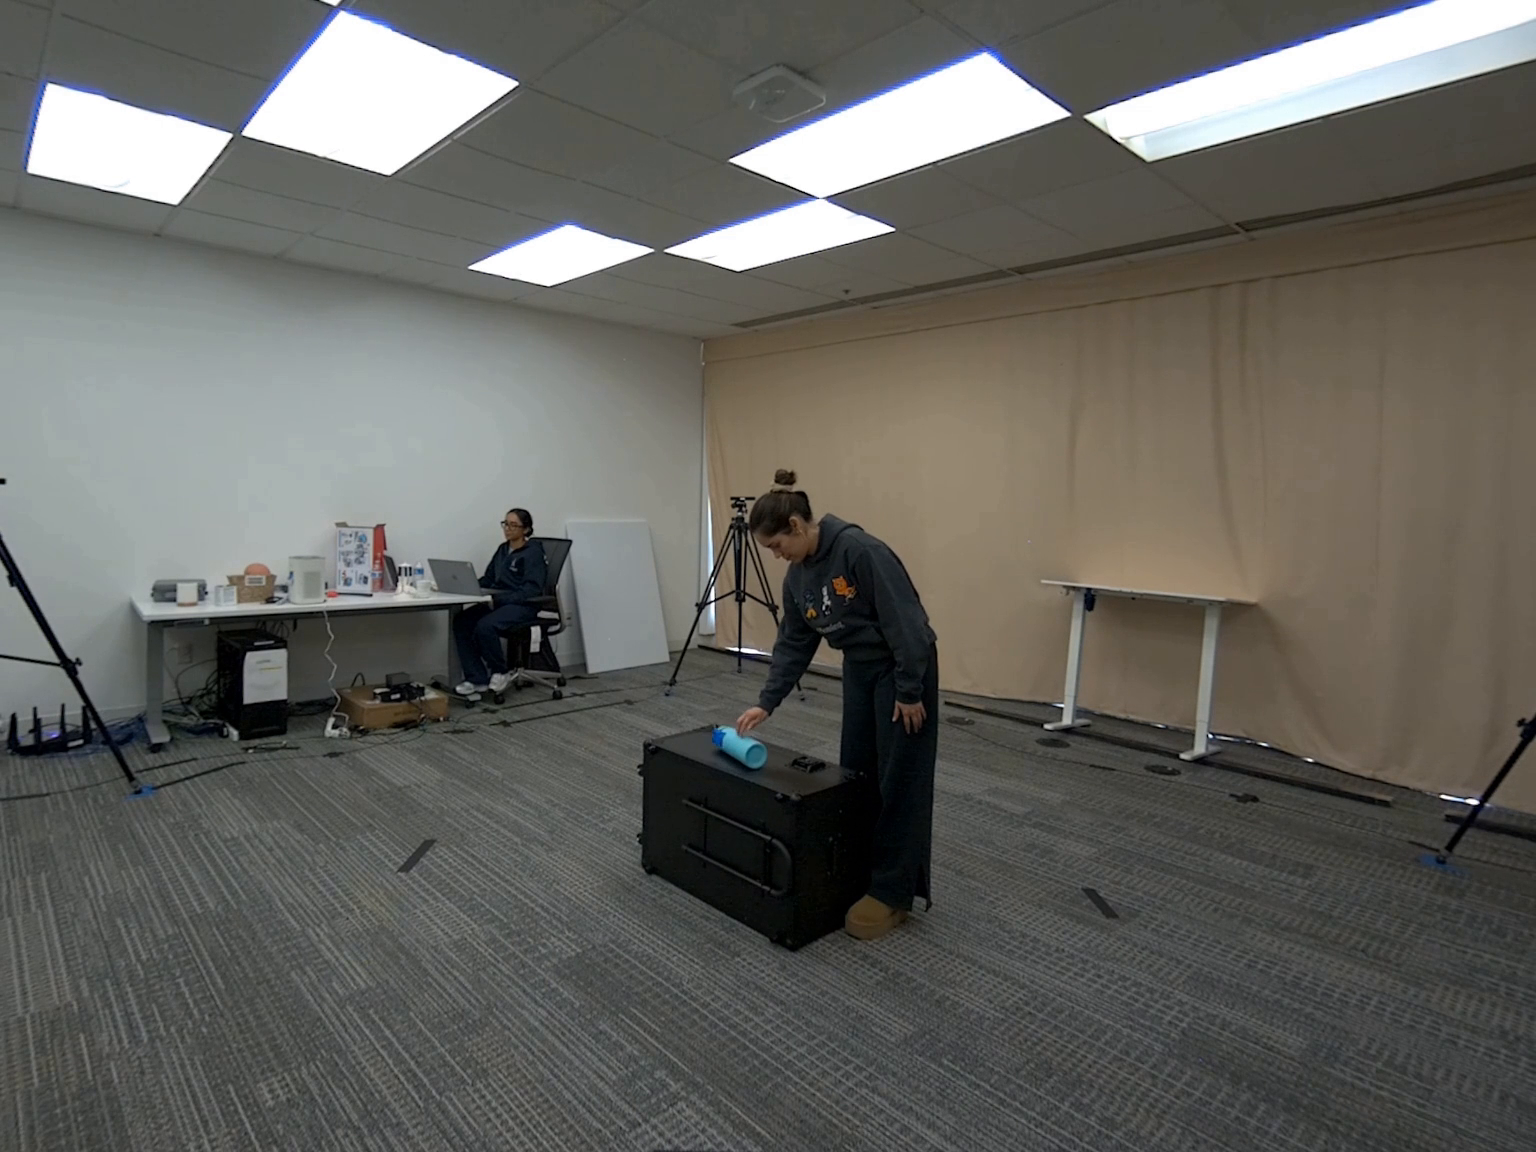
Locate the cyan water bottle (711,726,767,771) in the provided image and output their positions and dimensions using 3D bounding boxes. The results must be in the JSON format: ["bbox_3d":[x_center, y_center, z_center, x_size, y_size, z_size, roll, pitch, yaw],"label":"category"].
[{"bbox_3d":[-0.109,0.585,2.968,0.090,0.092,0.290,-1,6,-29],"label":"cyan water bottle"}]
